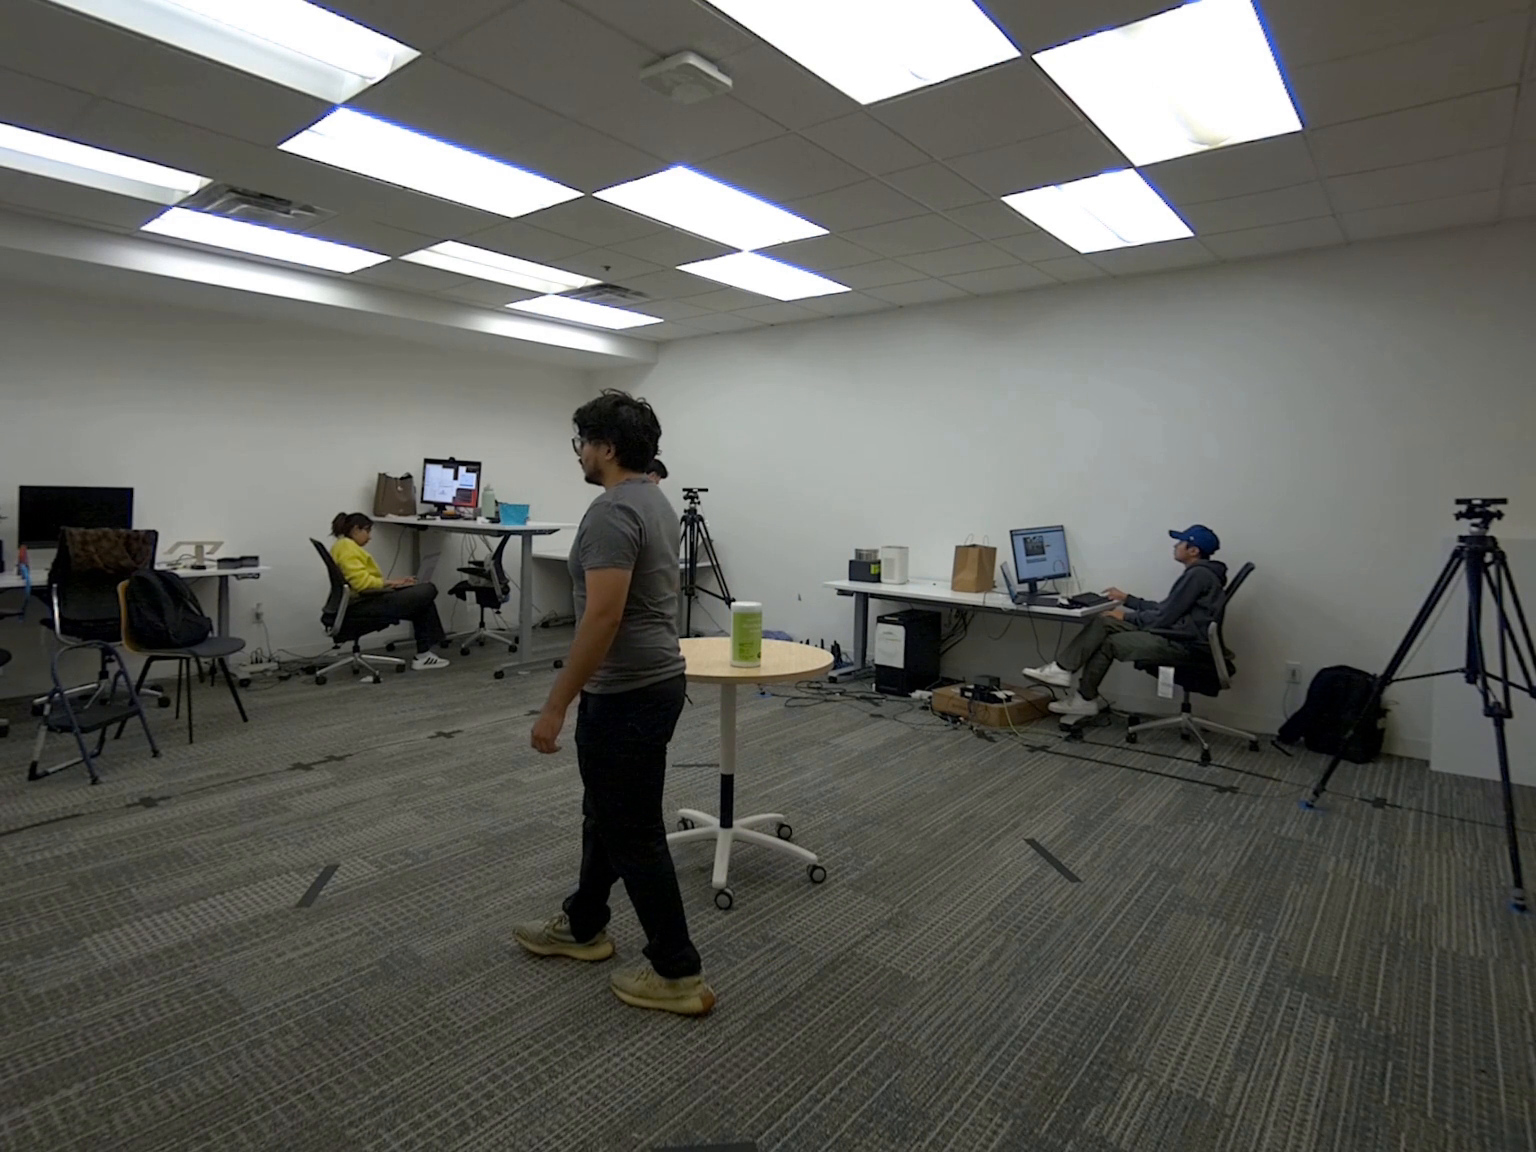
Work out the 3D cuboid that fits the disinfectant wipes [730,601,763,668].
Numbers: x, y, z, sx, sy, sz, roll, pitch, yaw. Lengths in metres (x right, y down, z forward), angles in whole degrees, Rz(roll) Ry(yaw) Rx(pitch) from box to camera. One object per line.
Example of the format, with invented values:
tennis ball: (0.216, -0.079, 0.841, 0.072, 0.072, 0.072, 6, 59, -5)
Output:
disinfectant wipes: (-0.086, 0.200, 2.935, 0.118, 0.217, 0.118, 1, 3, -2)
